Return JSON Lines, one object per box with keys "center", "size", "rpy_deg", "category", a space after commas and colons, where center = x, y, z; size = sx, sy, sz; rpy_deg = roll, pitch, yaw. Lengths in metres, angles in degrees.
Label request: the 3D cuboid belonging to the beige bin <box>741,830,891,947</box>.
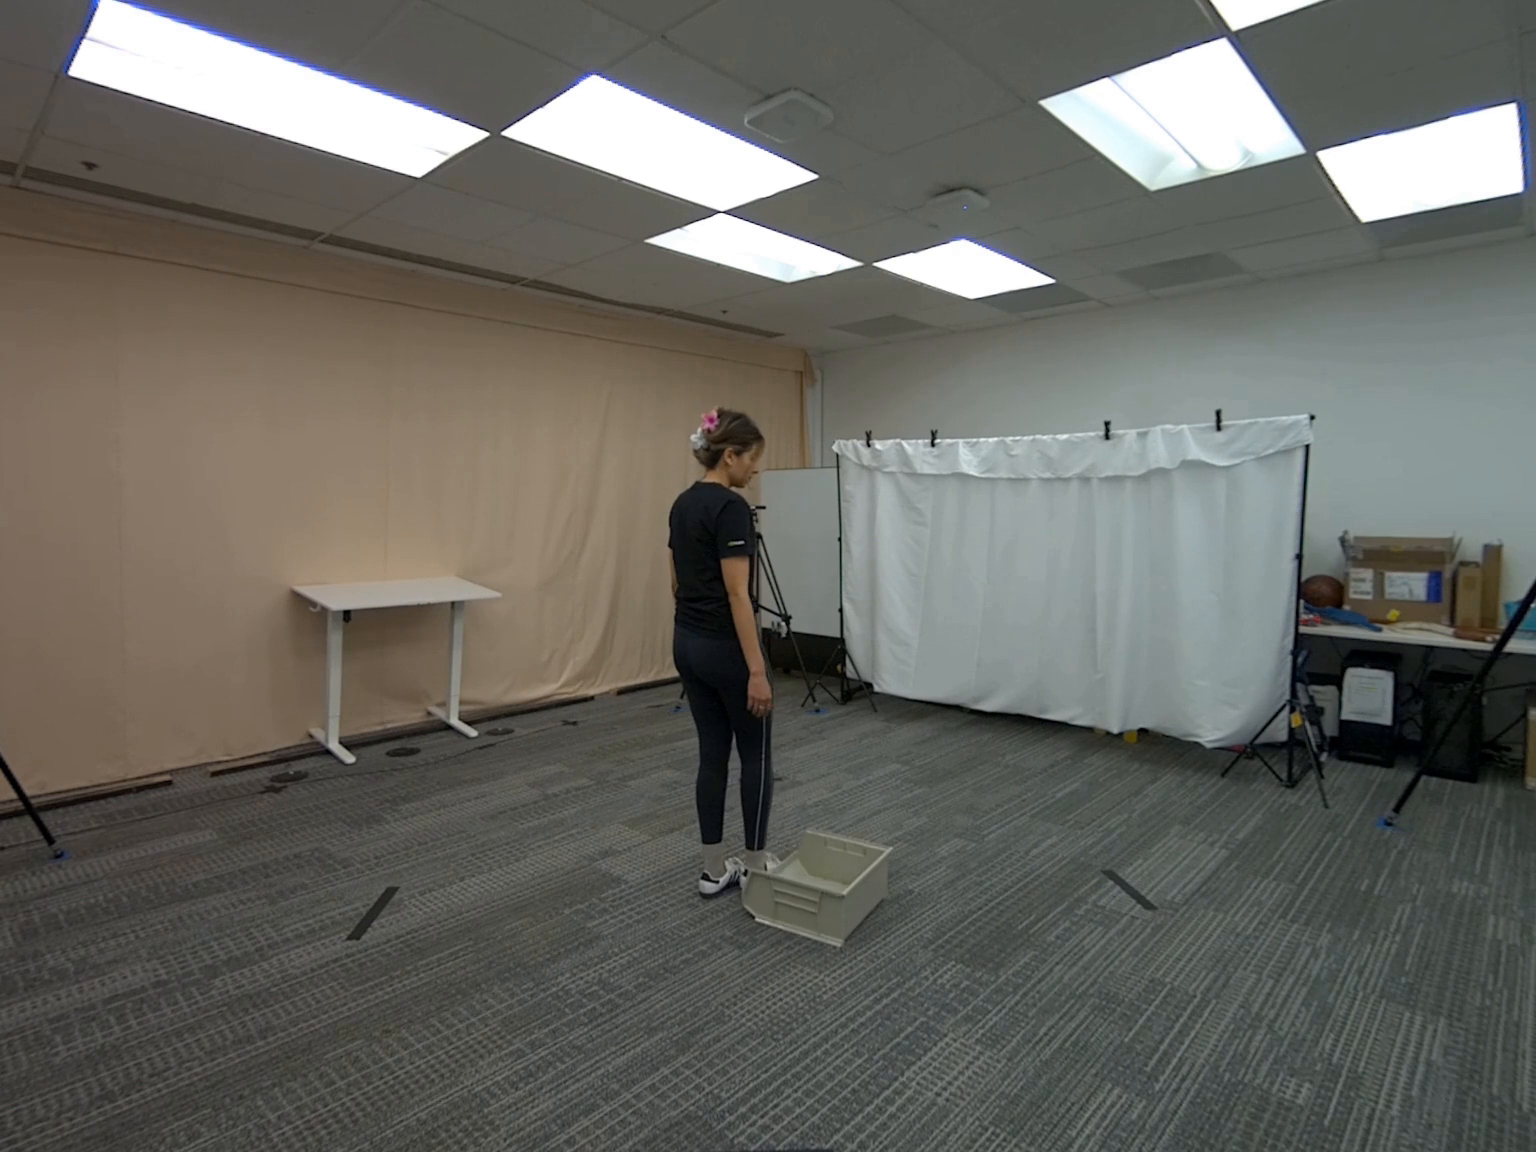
{"center": [0.183, 1.059, 2.910], "size": [0.389, 0.188, 0.411], "rpy_deg": [4, 6, 30], "category": "beige bin"}
